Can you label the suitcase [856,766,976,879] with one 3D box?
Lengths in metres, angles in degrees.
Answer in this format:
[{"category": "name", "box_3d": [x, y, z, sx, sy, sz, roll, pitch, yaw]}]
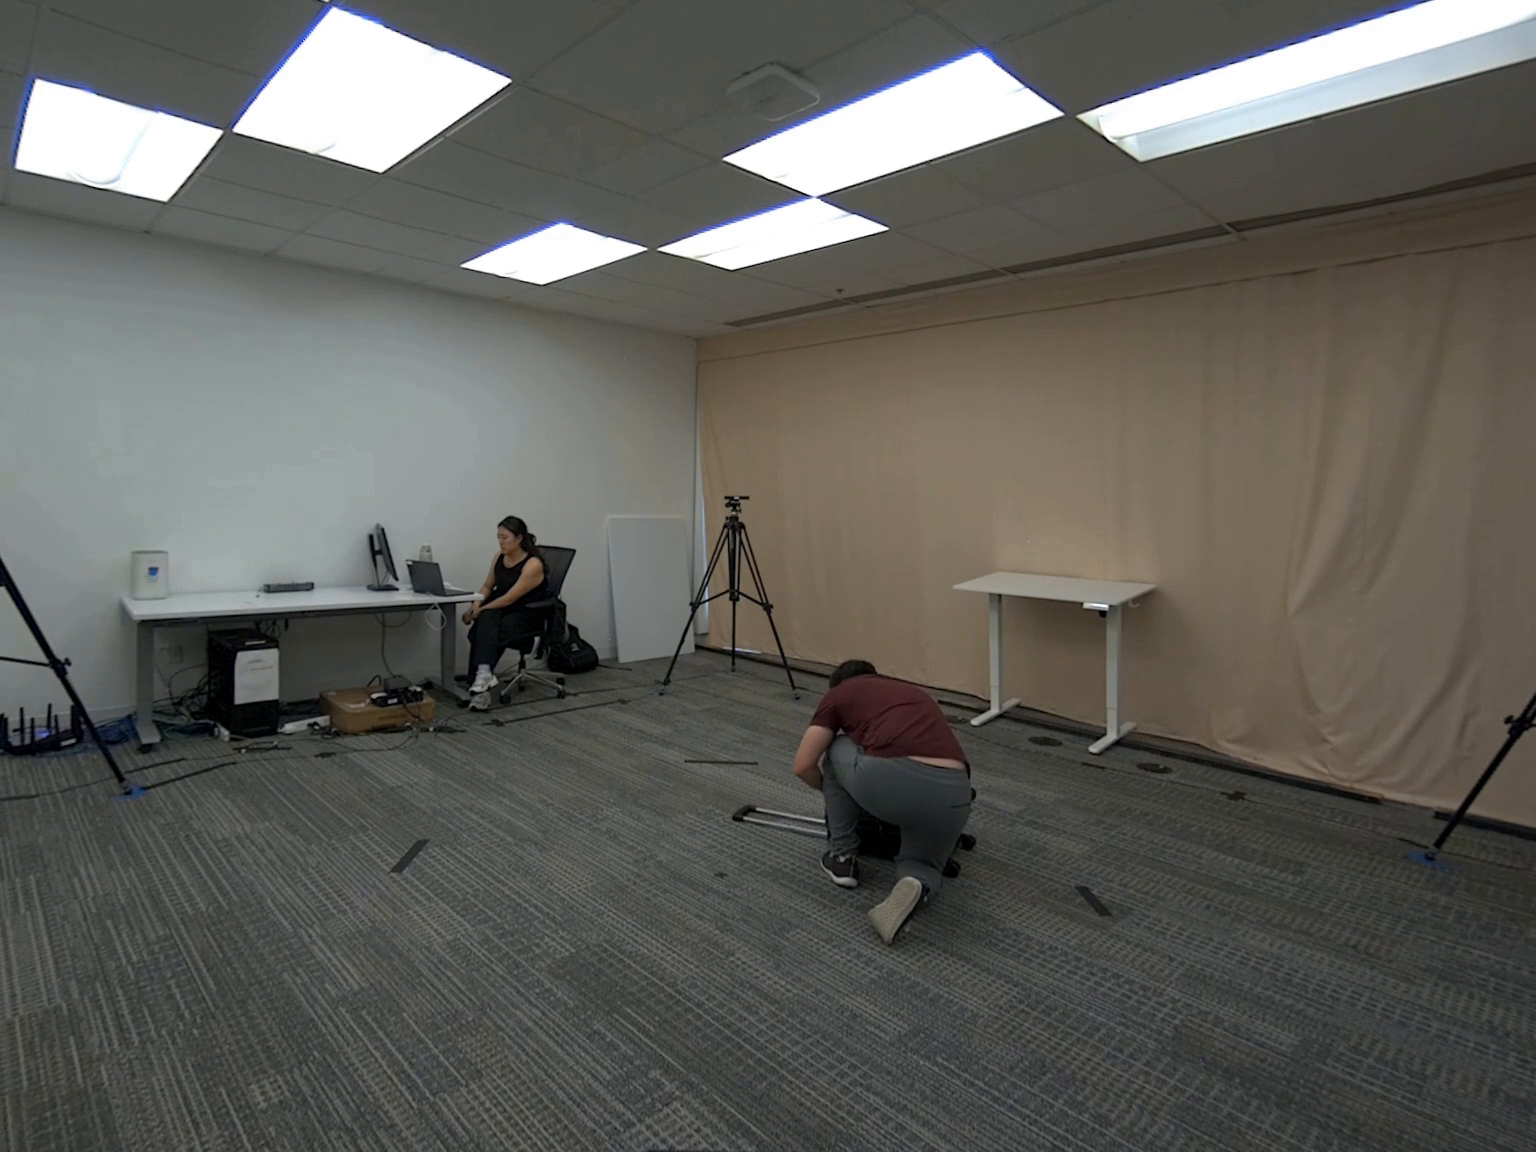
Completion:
[{"category": "suitcase", "box_3d": [0.332, 0.961, 3.478, 0.998, 0.256, 0.378, 3, 6, 25]}]
